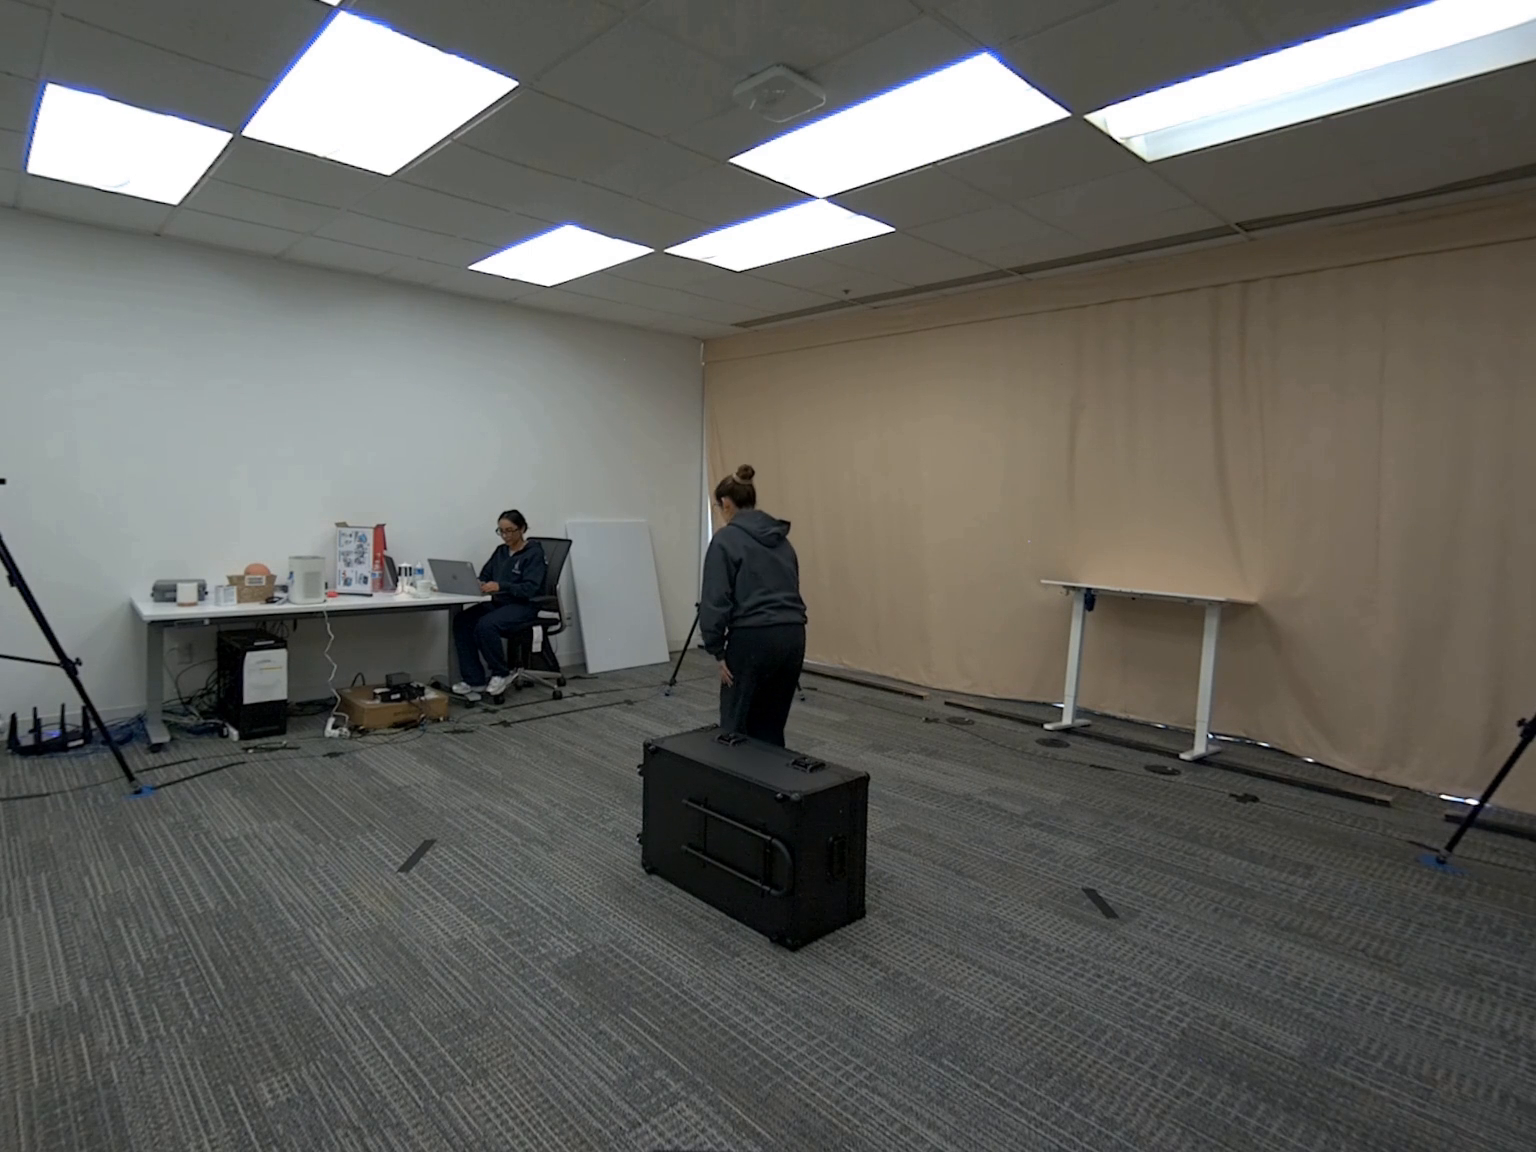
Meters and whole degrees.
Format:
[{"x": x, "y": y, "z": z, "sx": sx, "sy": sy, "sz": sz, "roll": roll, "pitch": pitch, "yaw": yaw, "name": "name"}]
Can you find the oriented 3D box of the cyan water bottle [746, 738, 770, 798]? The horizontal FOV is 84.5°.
[{"x": -0.049, "y": 0.891, "z": 4.017, "sx": 0.092, "sy": 0.283, "sz": 0.092, "roll": 2, "pitch": 2, "yaw": -1, "name": "cyan water bottle"}]
